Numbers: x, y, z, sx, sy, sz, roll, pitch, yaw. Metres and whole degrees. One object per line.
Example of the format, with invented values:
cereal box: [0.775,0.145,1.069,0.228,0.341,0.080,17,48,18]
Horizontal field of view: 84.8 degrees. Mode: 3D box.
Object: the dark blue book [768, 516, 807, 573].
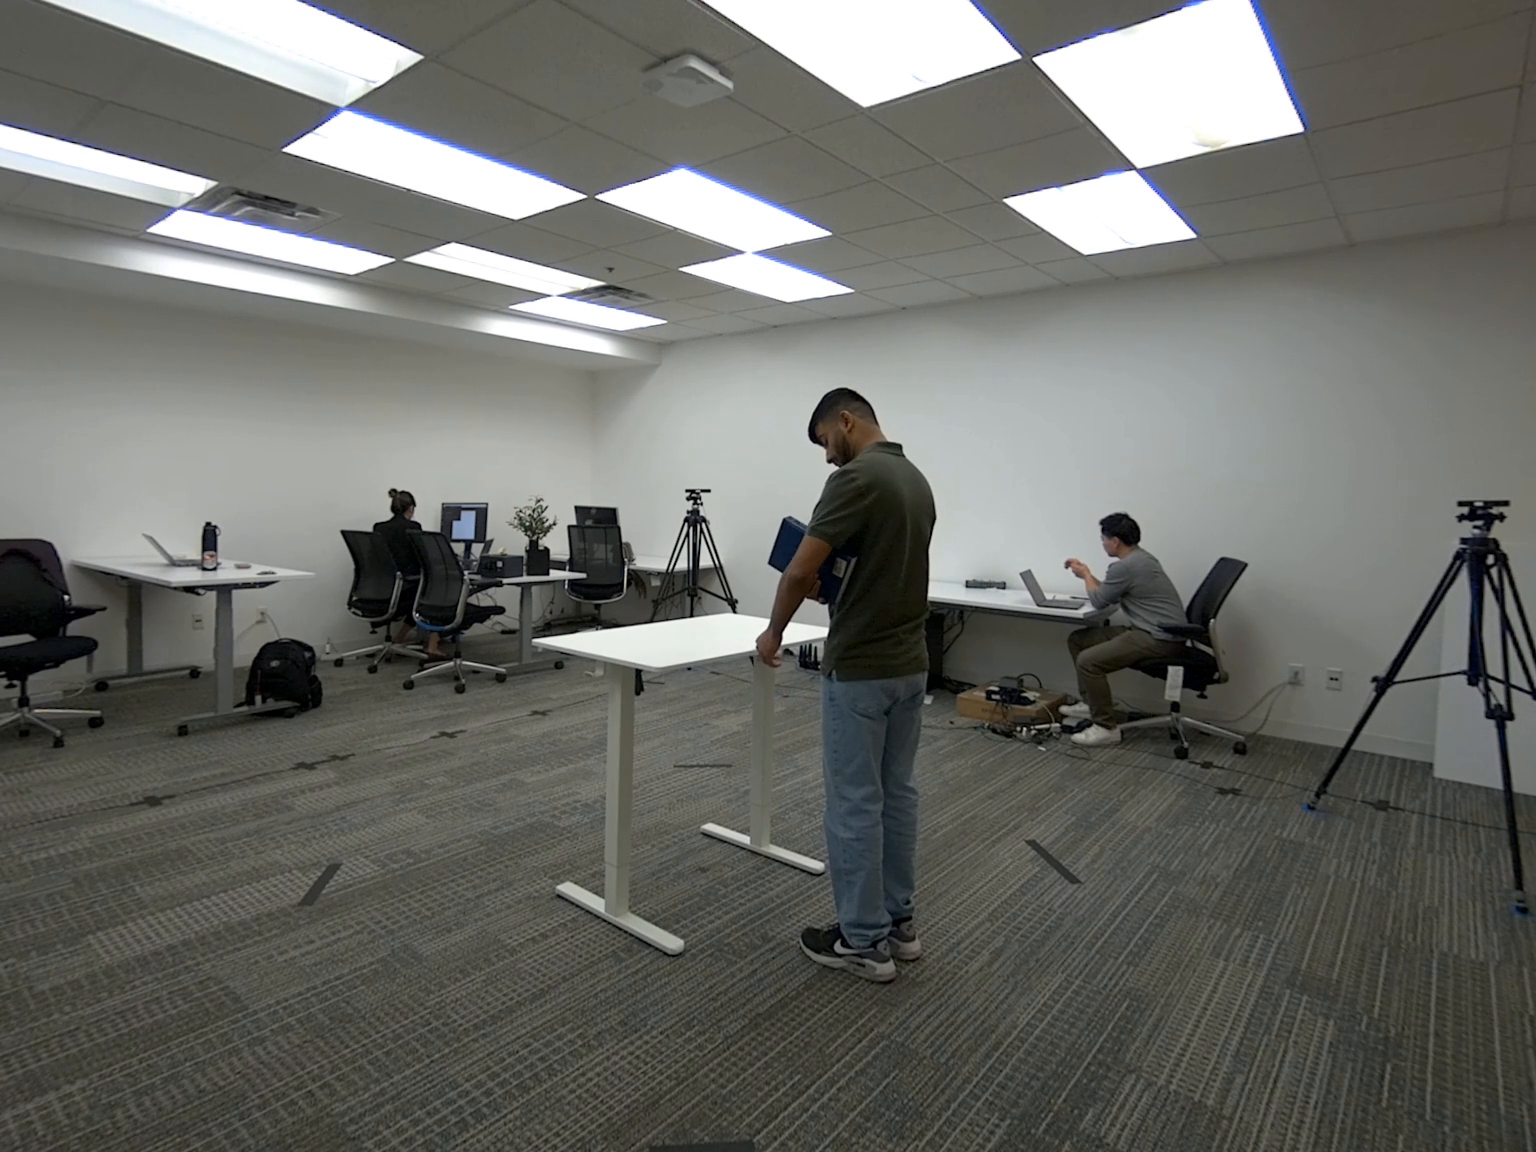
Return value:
dark blue book: [0.121,-0.051,2.453,0.253,0.161,0.044,33,31,24]
